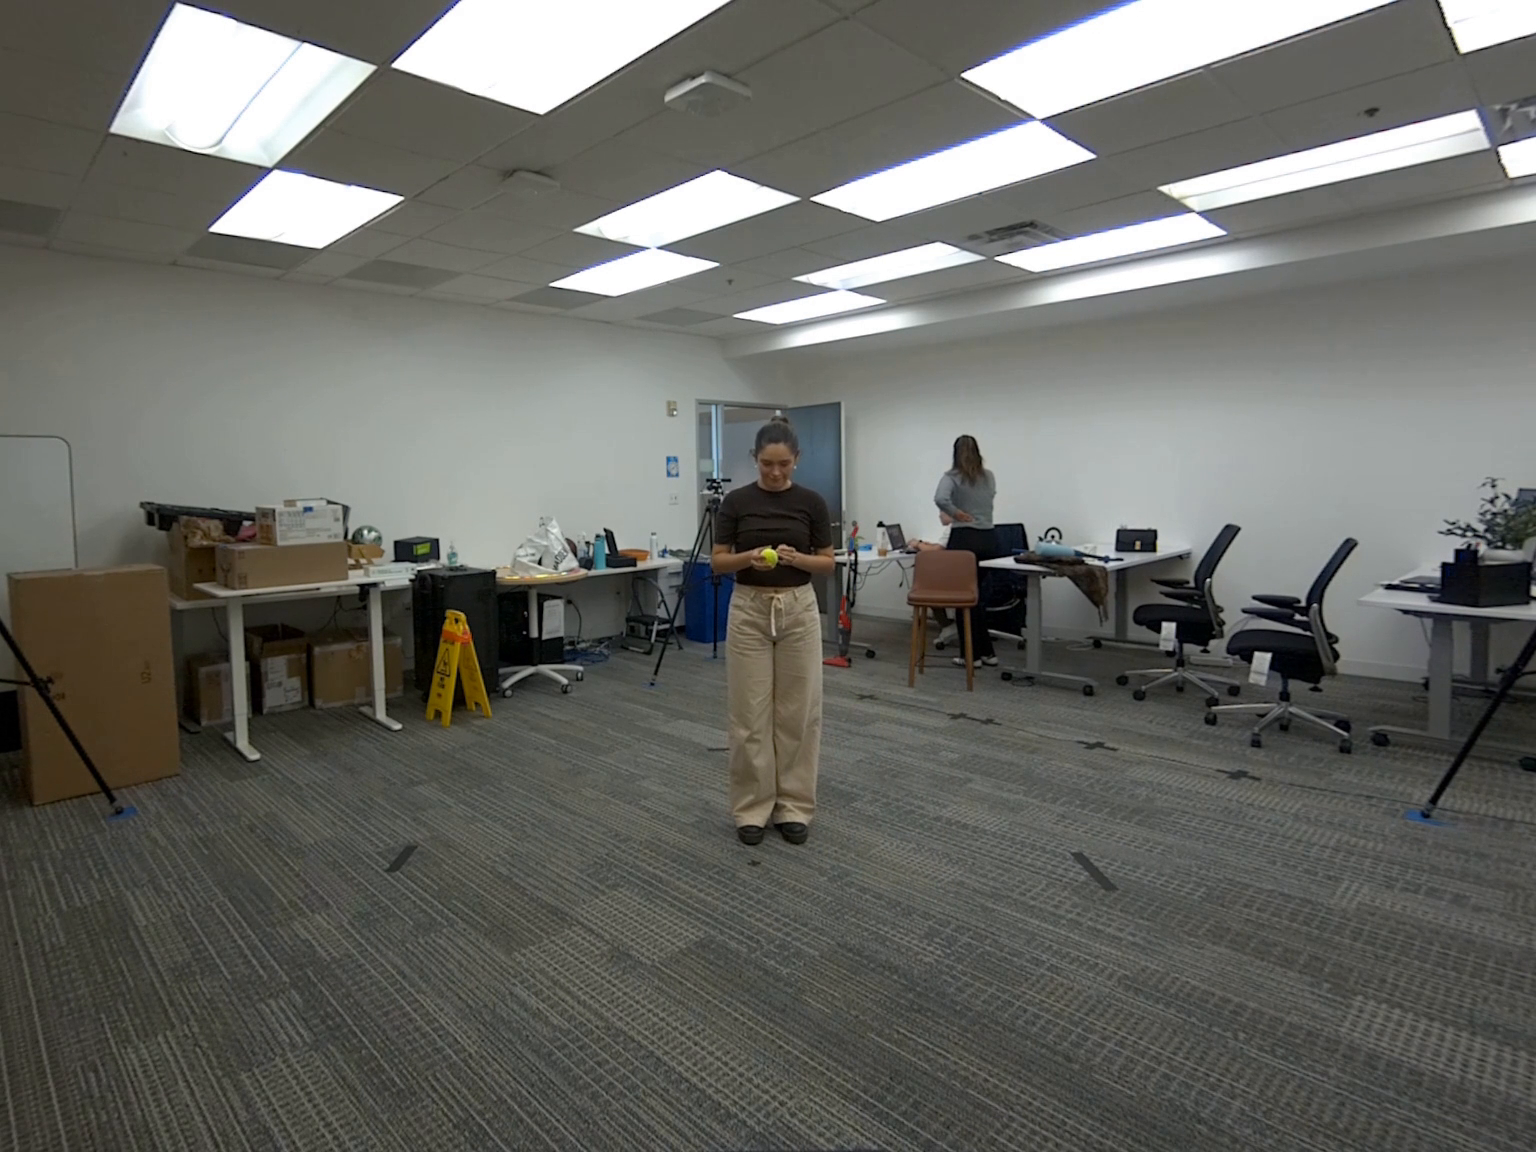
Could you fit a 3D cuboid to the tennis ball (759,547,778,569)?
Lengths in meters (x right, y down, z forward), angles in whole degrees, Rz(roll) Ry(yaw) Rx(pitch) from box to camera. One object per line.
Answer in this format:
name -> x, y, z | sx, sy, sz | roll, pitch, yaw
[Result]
tennis ball -> 0.005, -0.066, 3.093 | 0.066, 0.066, 0.067 | -1, 5, -2
